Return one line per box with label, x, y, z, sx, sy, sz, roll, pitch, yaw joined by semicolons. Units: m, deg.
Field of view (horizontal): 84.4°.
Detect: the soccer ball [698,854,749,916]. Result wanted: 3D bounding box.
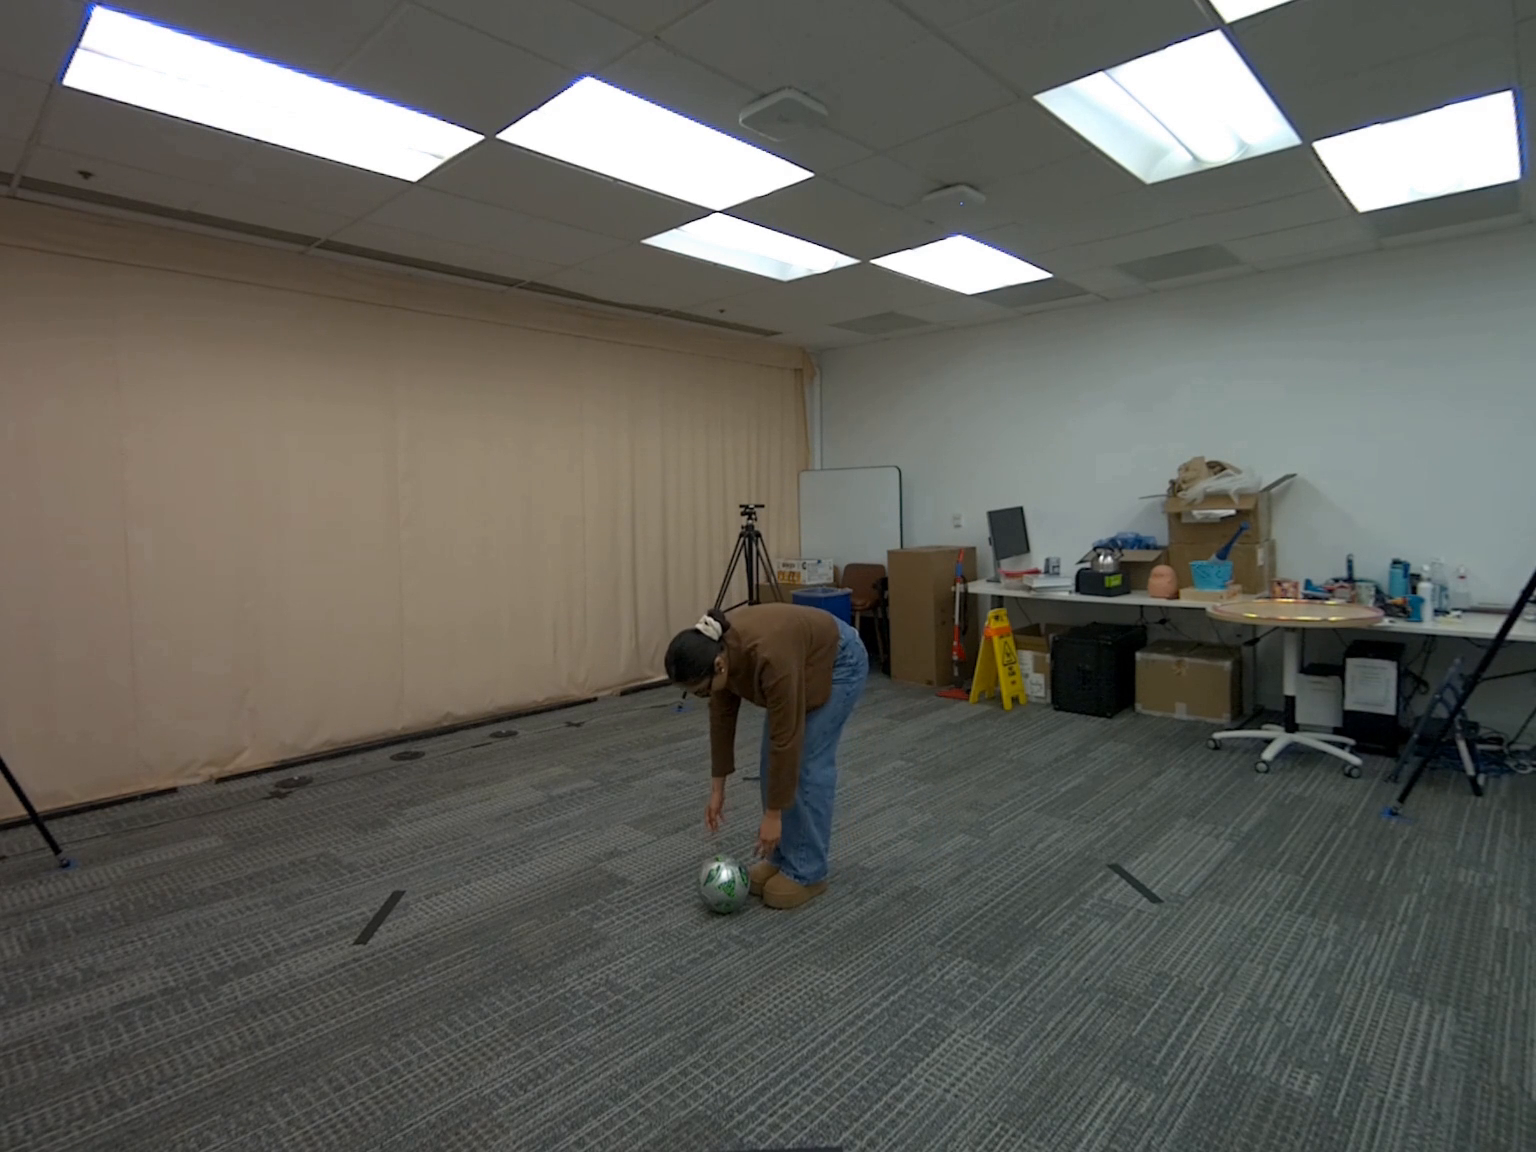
soccer ball;-0.148;1.055;2.890;0.187;0.187;0.188;-1;4;-2
